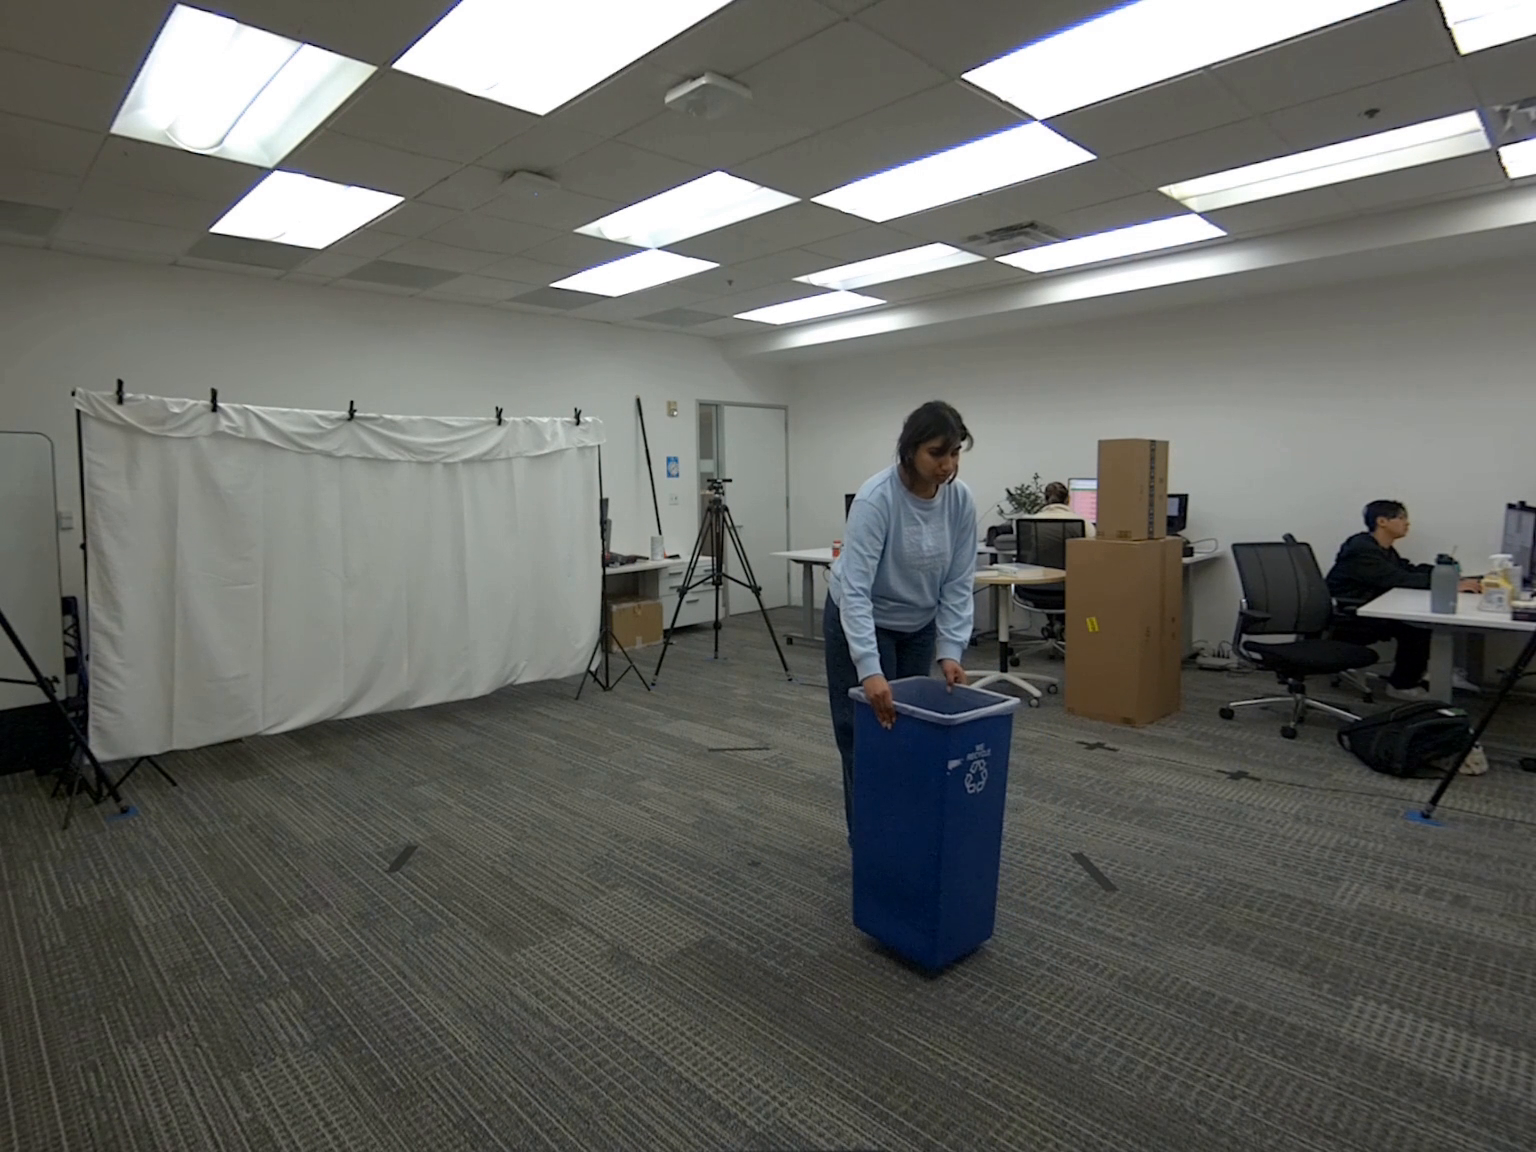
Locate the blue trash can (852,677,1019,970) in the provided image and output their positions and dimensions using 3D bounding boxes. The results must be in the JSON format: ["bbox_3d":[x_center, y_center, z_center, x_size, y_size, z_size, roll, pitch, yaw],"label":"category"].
[{"bbox_3d":[0.479,0.707,2.529,0.364,0.711,0.390,-2,6,-42],"label":"blue trash can"}]
